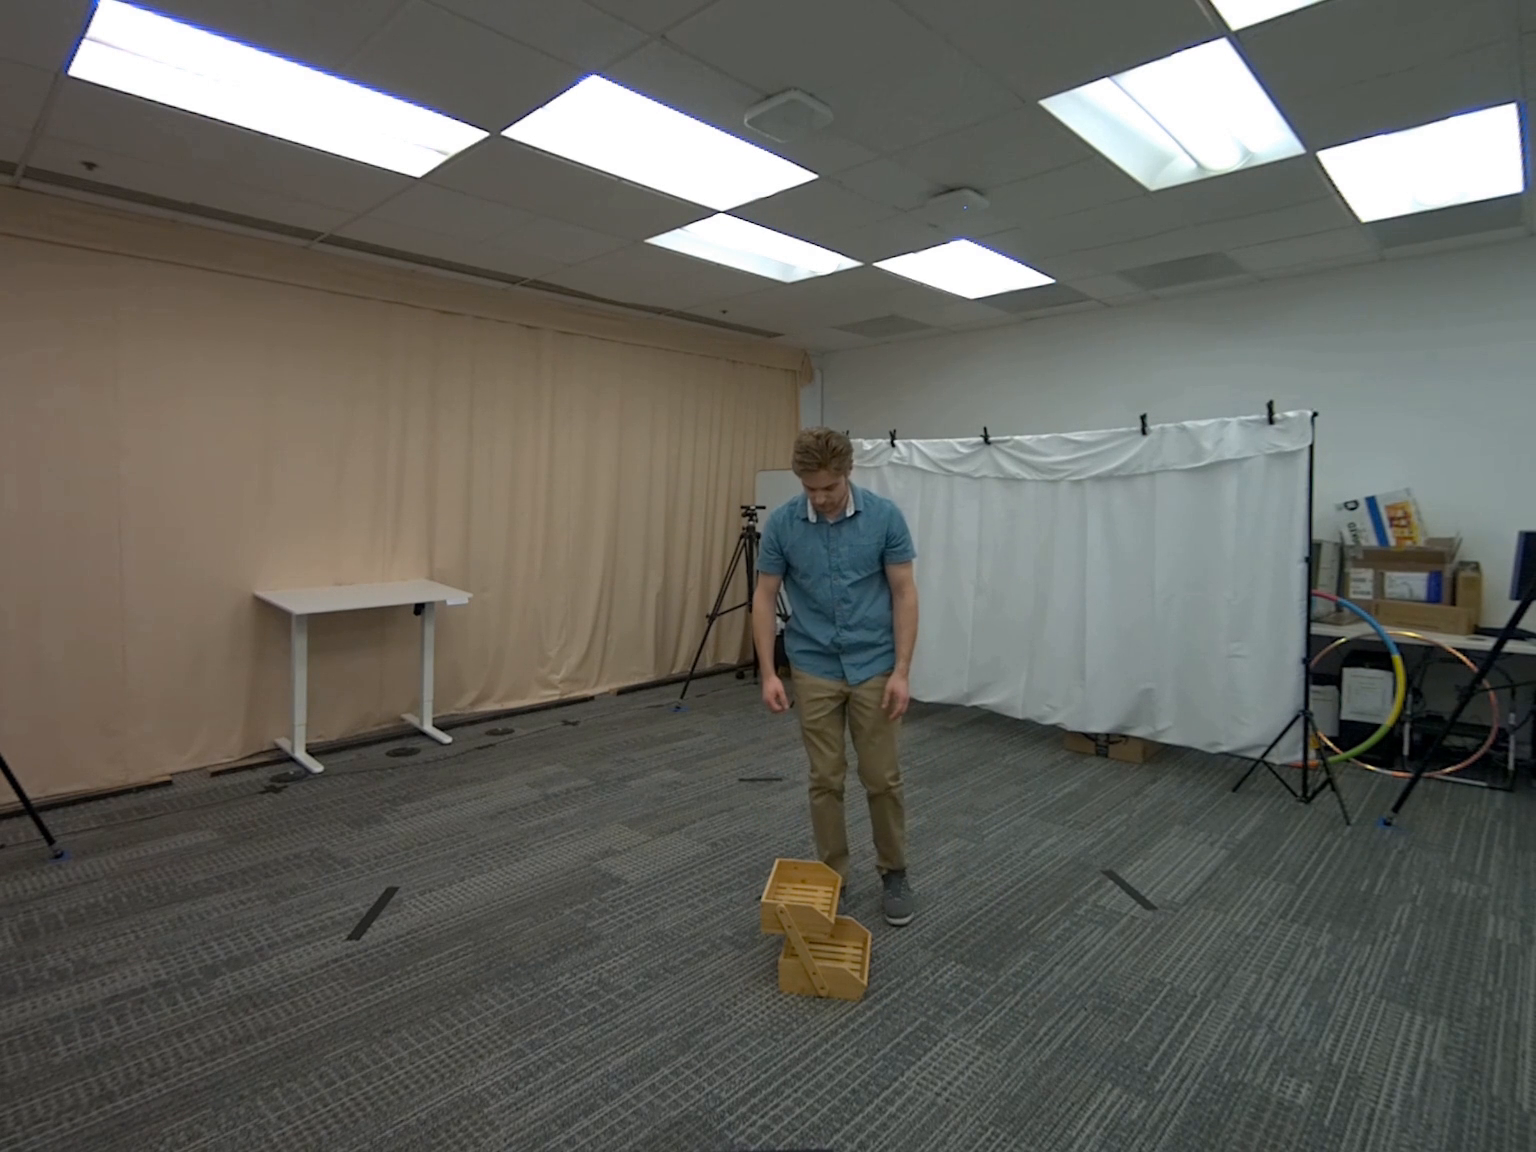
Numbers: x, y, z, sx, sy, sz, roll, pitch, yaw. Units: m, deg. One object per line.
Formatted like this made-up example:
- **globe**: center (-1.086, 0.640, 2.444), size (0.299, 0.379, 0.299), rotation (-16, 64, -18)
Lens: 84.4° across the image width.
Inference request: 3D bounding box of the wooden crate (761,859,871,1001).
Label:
- **wooden crate**: center (0.164, 1.048, 2.529), size (0.306, 0.273, 0.321), rotation (0, 4, 11)
